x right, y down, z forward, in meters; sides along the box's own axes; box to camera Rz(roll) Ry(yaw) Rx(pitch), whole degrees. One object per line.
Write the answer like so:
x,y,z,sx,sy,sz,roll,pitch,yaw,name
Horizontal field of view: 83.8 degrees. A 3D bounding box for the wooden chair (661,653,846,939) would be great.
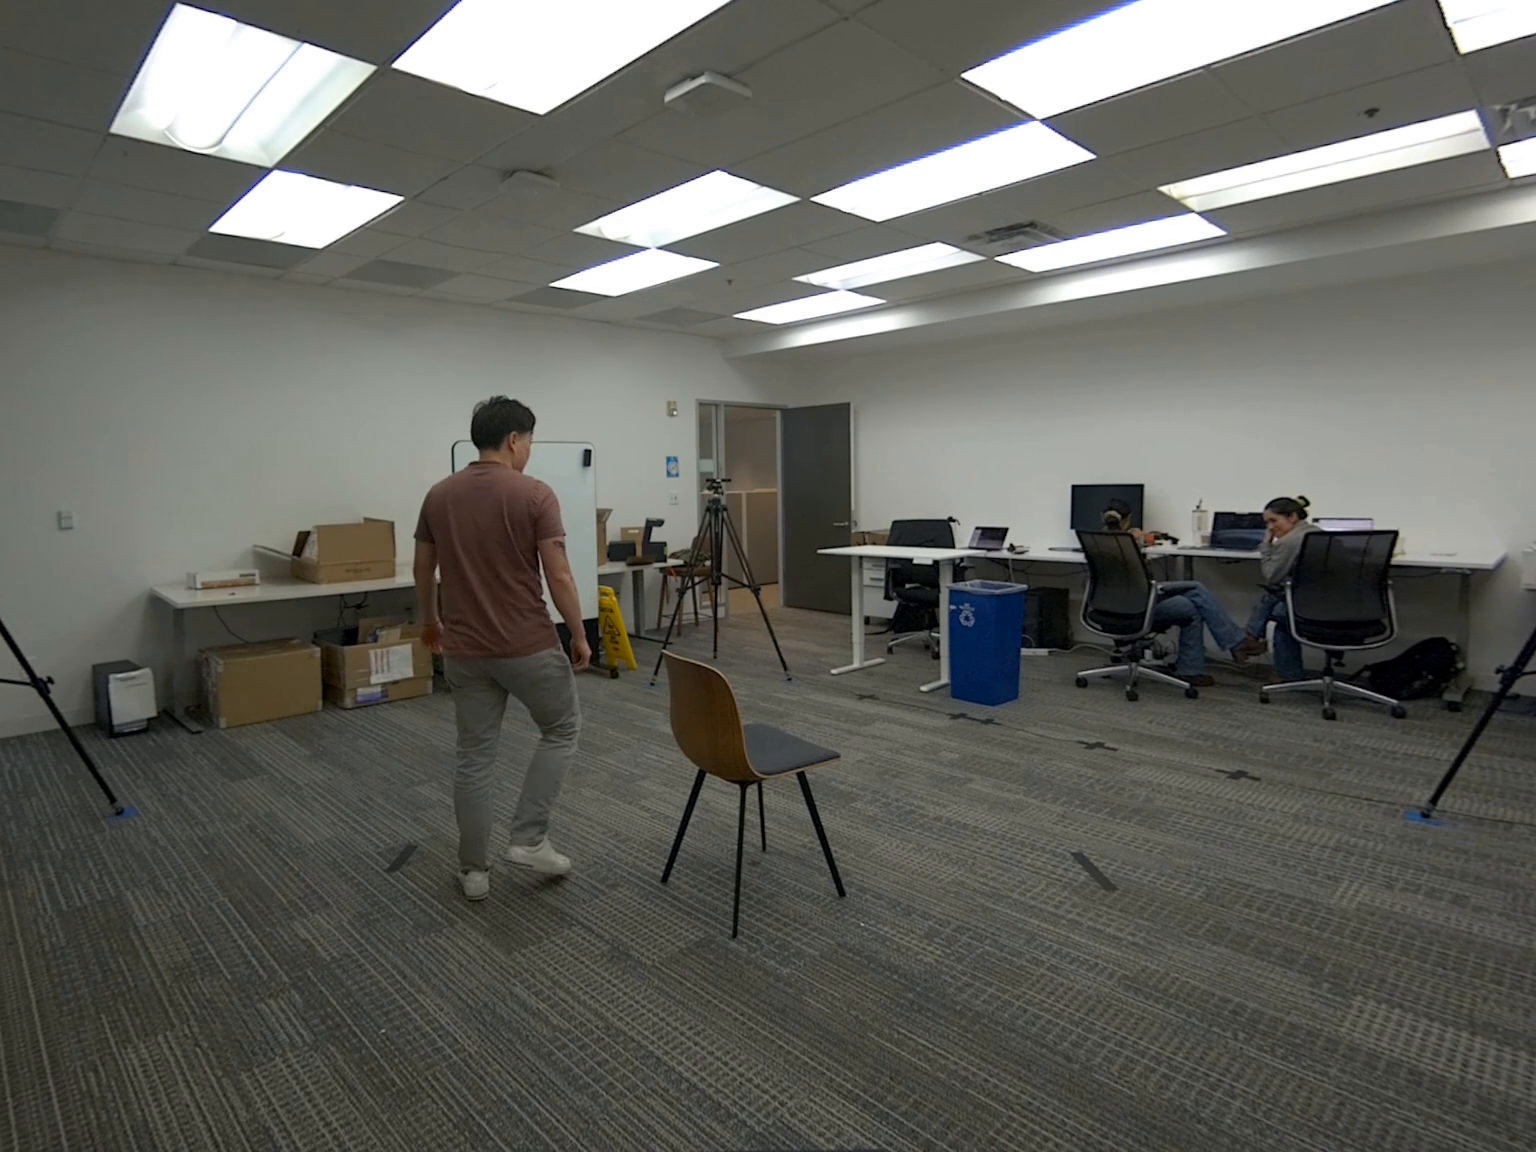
-0.055,0.641,2.874,0.511,0.872,0.492,-10,8,-35,wooden chair
